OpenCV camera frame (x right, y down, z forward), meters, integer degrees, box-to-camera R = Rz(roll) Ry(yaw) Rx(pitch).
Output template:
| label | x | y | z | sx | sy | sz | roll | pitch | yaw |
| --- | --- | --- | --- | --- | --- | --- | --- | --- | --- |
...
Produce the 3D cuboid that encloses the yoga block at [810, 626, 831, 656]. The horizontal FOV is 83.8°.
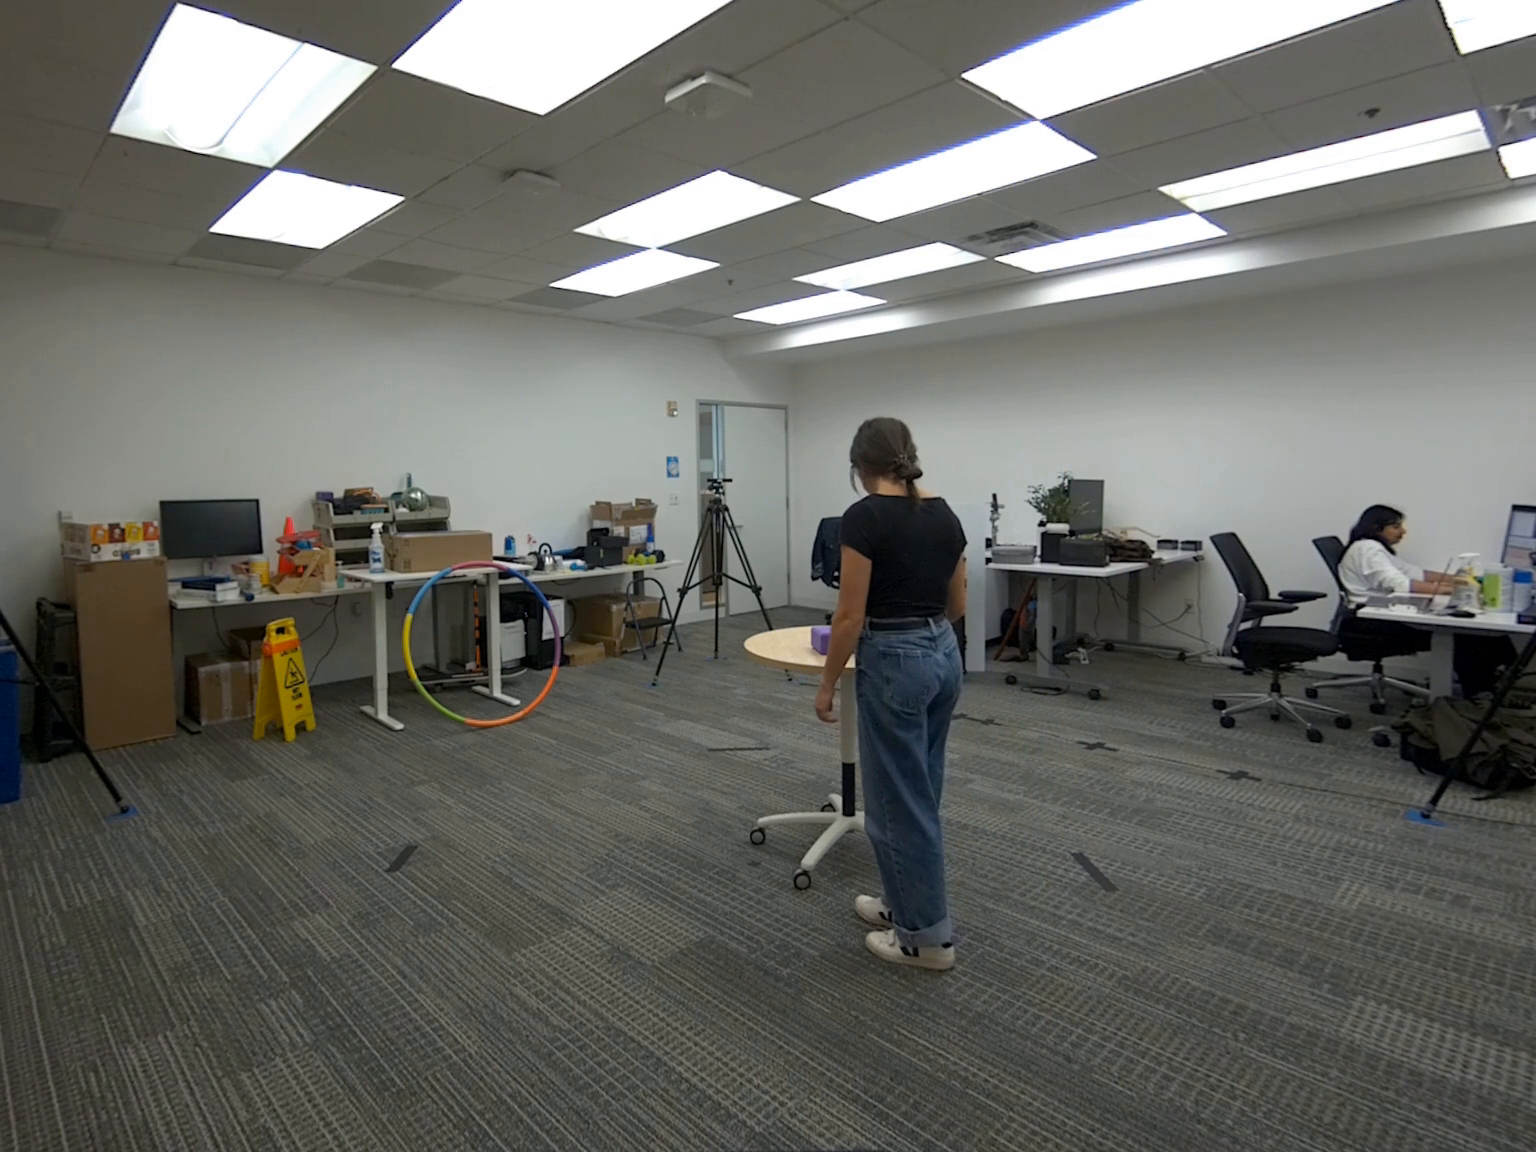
| label | x | y | z | sx | sy | sz | roll | pitch | yaw |
| --- | --- | --- | --- | --- | --- | --- | --- | --- | --- |
| yoga block | 0.291 | 0.228 | 3.042 | 0.227 | 0.076 | 0.151 | -1 | 6 | -10 |
